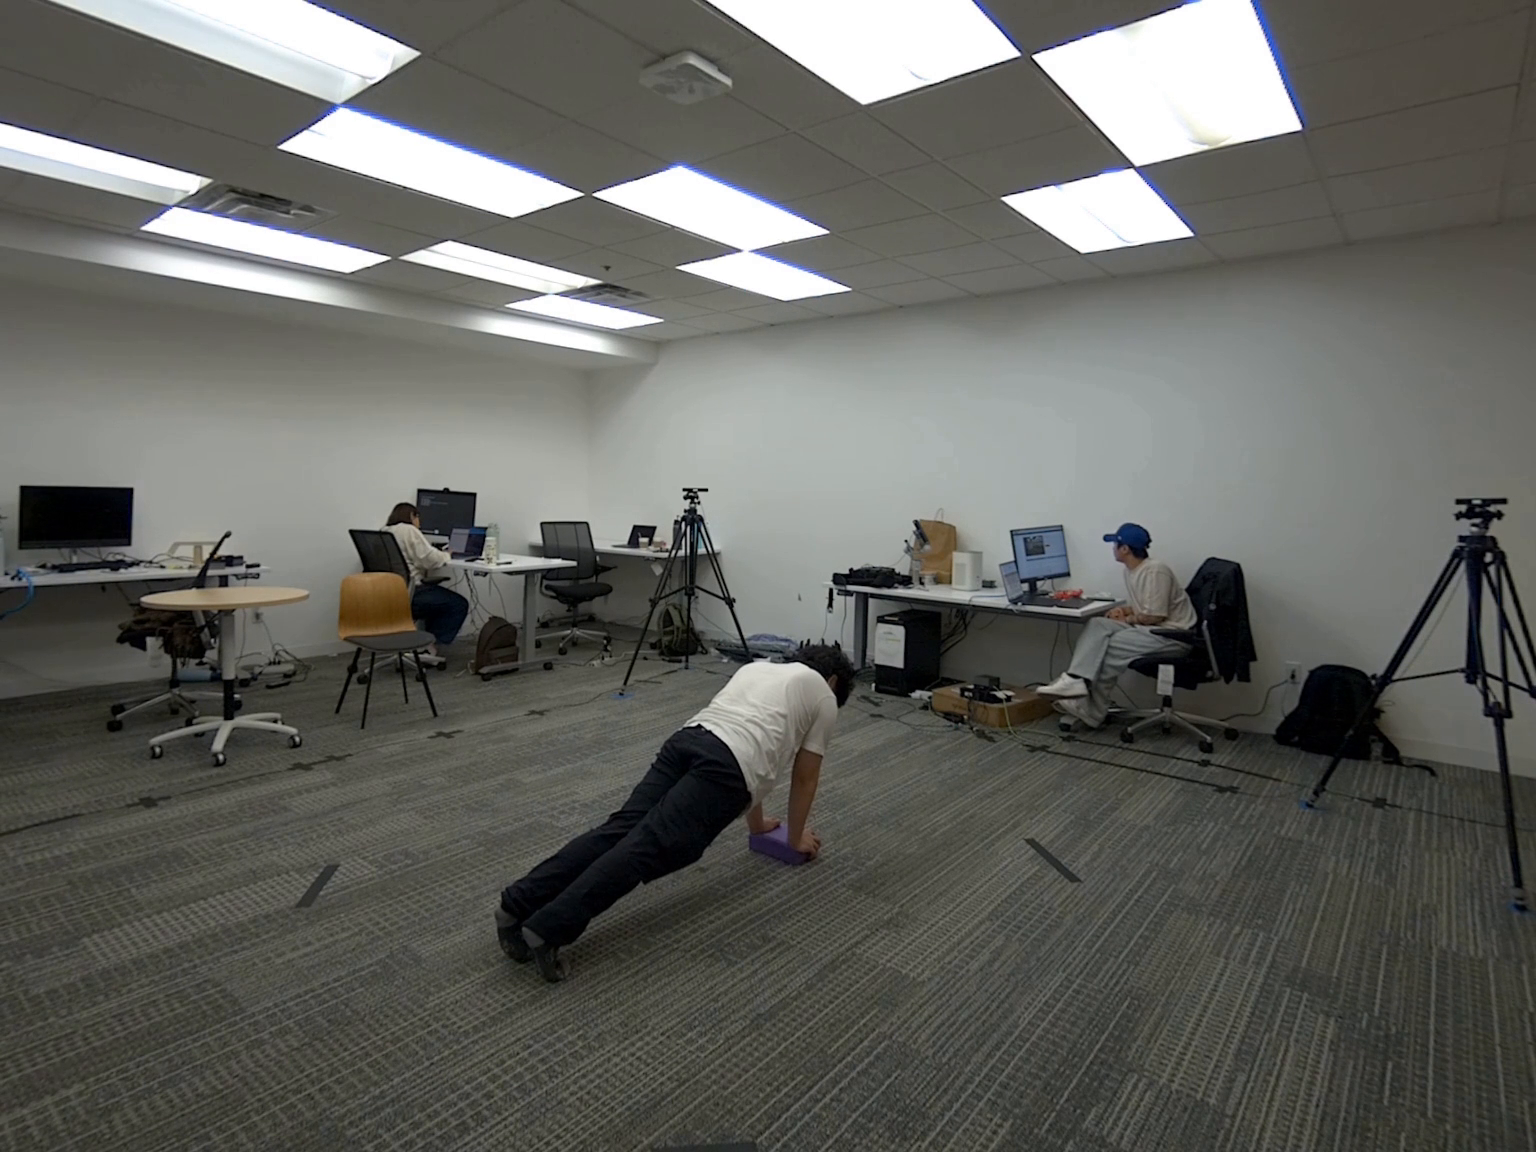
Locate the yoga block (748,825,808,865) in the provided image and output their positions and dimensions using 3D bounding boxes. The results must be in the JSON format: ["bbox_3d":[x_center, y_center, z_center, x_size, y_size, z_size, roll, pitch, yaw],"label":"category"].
[{"bbox_3d":[0.047,1.025,3.278,0.237,0.076,0.144,5,5,38],"label":"yoga block"}]
